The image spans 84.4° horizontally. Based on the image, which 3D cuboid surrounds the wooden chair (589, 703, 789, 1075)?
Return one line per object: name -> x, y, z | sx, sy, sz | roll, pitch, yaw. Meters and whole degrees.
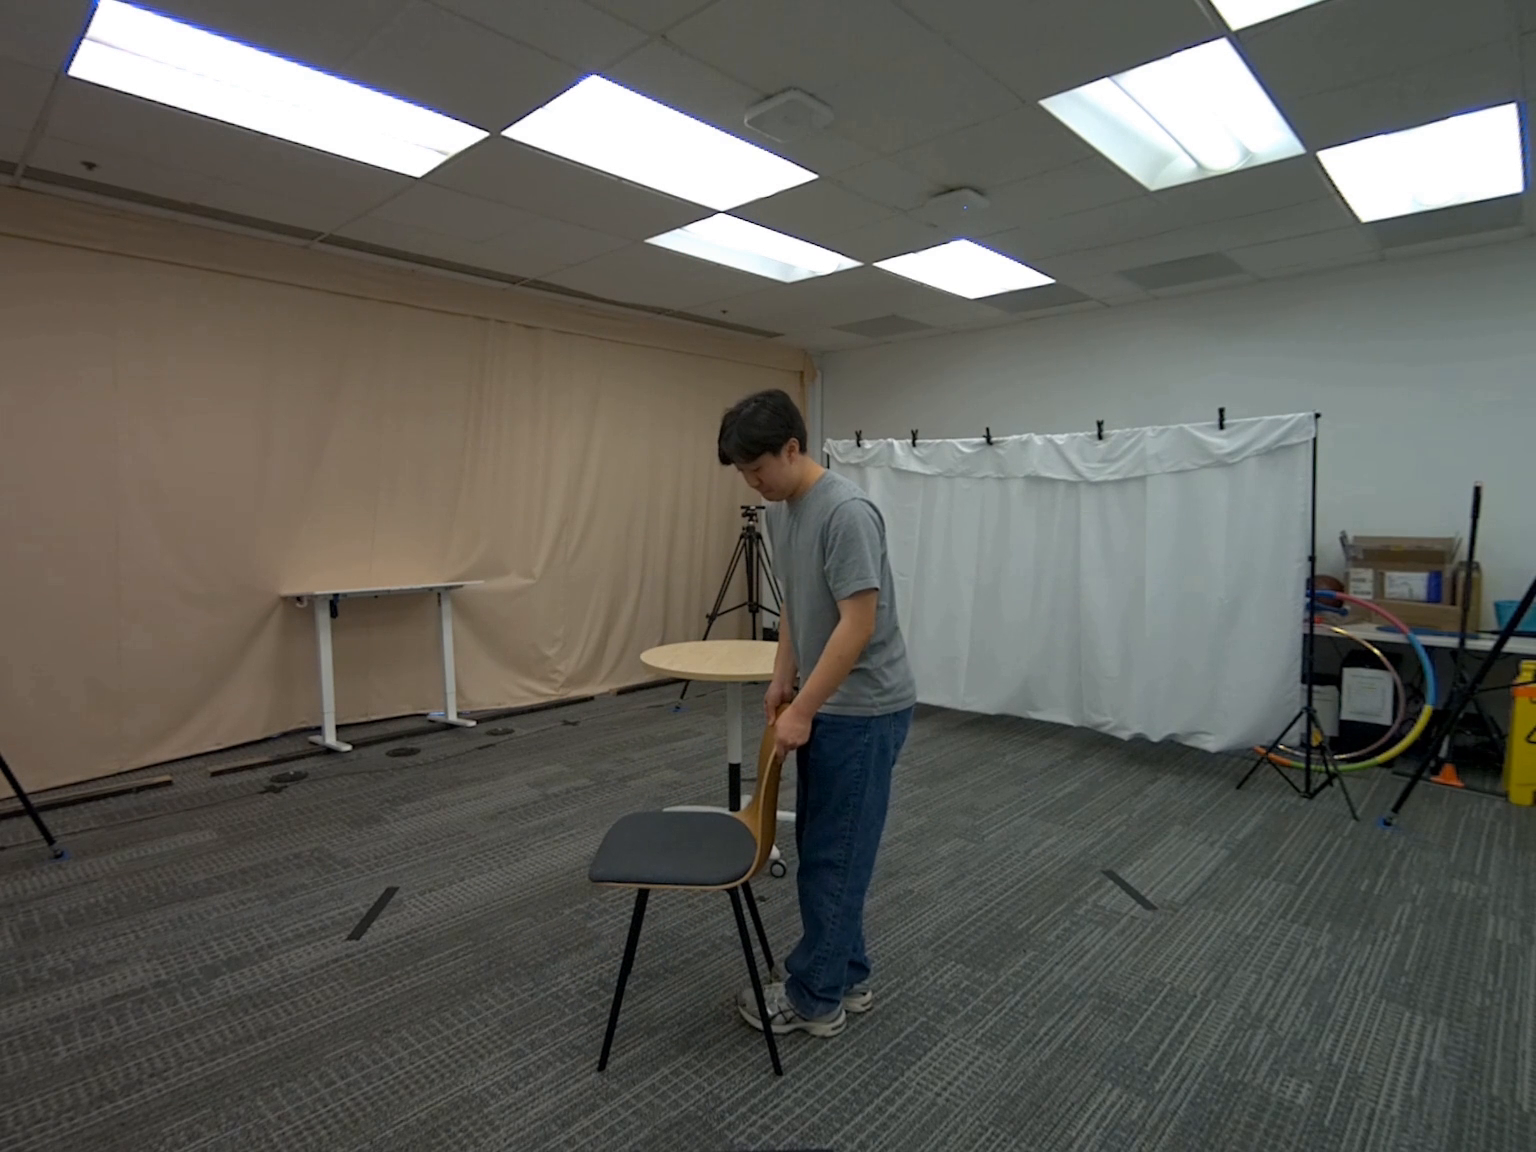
wooden chair -> -0.204, 0.775, 2.267 | 0.525, 0.875, 0.478 | 4, 4, 2
